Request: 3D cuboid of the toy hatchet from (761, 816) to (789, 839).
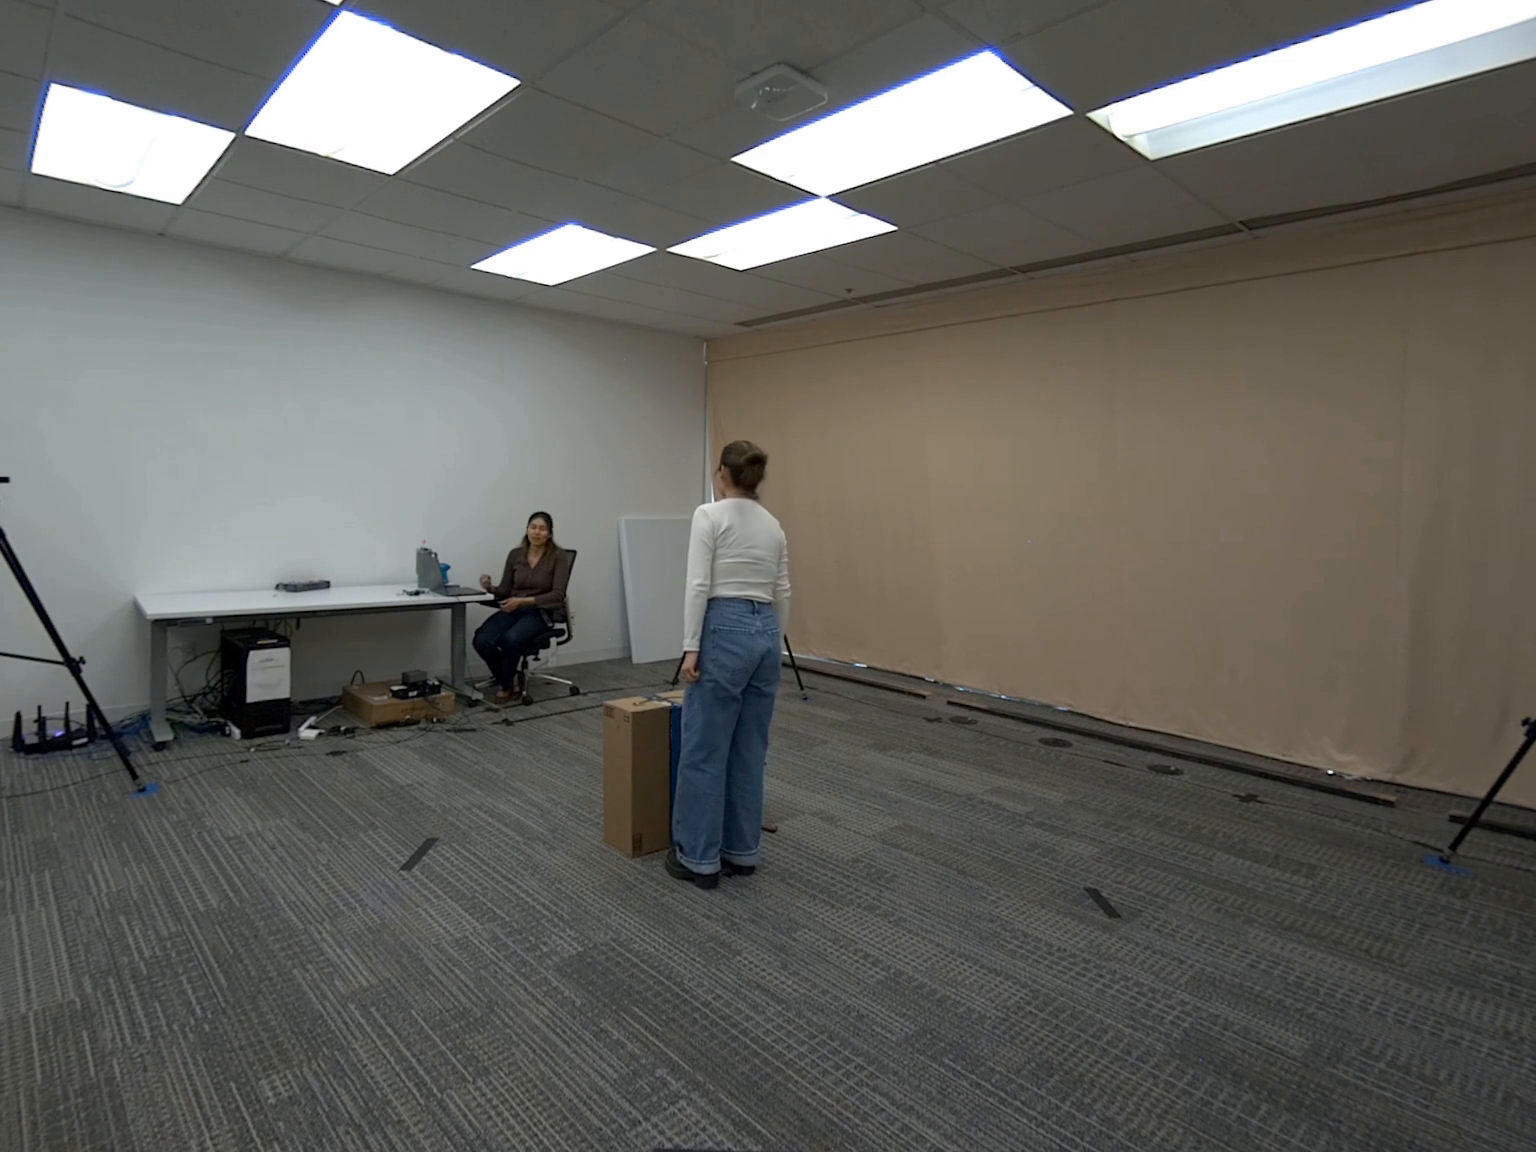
[{"bbox_3d":[-0.067,1.053,3.618,0.276,0.029,0.128,6,3,29],"label":"toy hatchet"}]
